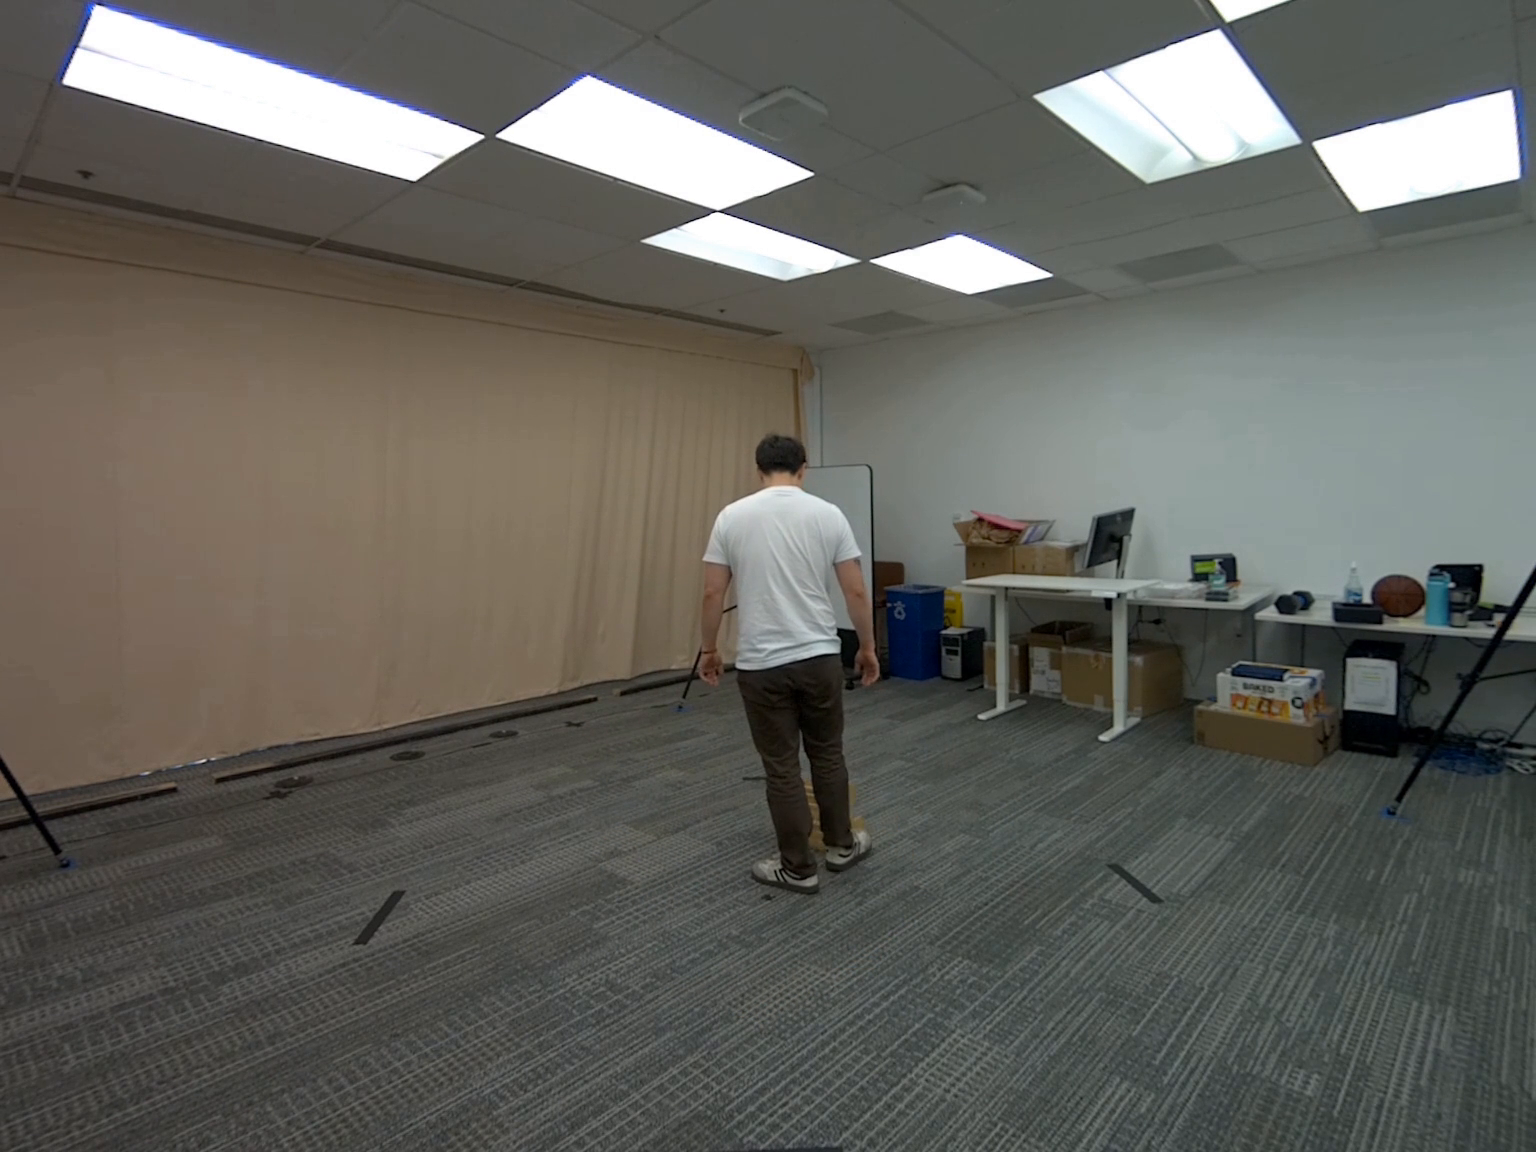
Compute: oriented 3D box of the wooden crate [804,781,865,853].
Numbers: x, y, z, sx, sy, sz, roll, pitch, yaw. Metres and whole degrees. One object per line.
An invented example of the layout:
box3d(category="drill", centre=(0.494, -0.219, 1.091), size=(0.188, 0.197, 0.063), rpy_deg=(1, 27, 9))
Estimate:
box3d(category="wooden crate", centre=(0.209, 0.956, 3.497), size=(0.334, 0.273, 0.294), rpy_deg=(2, 5, 32))
